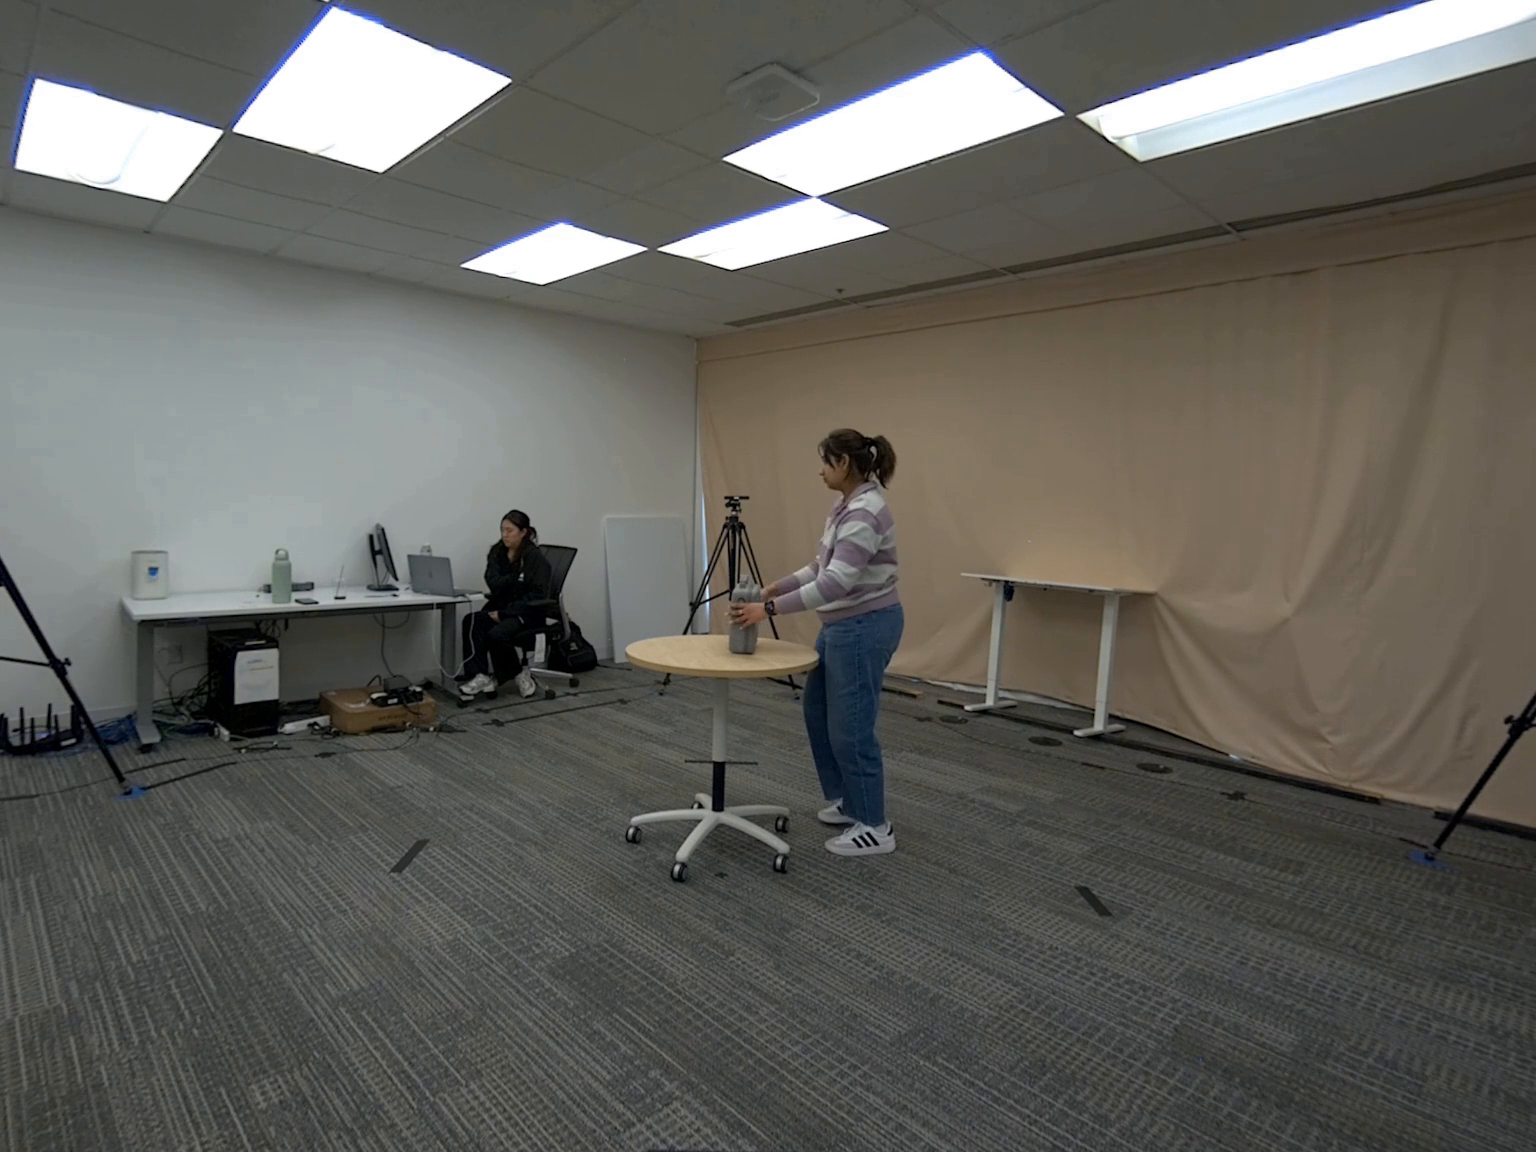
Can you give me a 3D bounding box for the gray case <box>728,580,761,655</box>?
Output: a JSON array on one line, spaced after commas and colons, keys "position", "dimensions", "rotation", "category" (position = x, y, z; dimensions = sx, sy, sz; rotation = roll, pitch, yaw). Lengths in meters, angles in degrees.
[{"position": [-0.100, 0.163, 3.371], "dimensions": [0.104, 0.260, 0.257], "rotation": [2, 5, 1], "category": "gray case"}]
